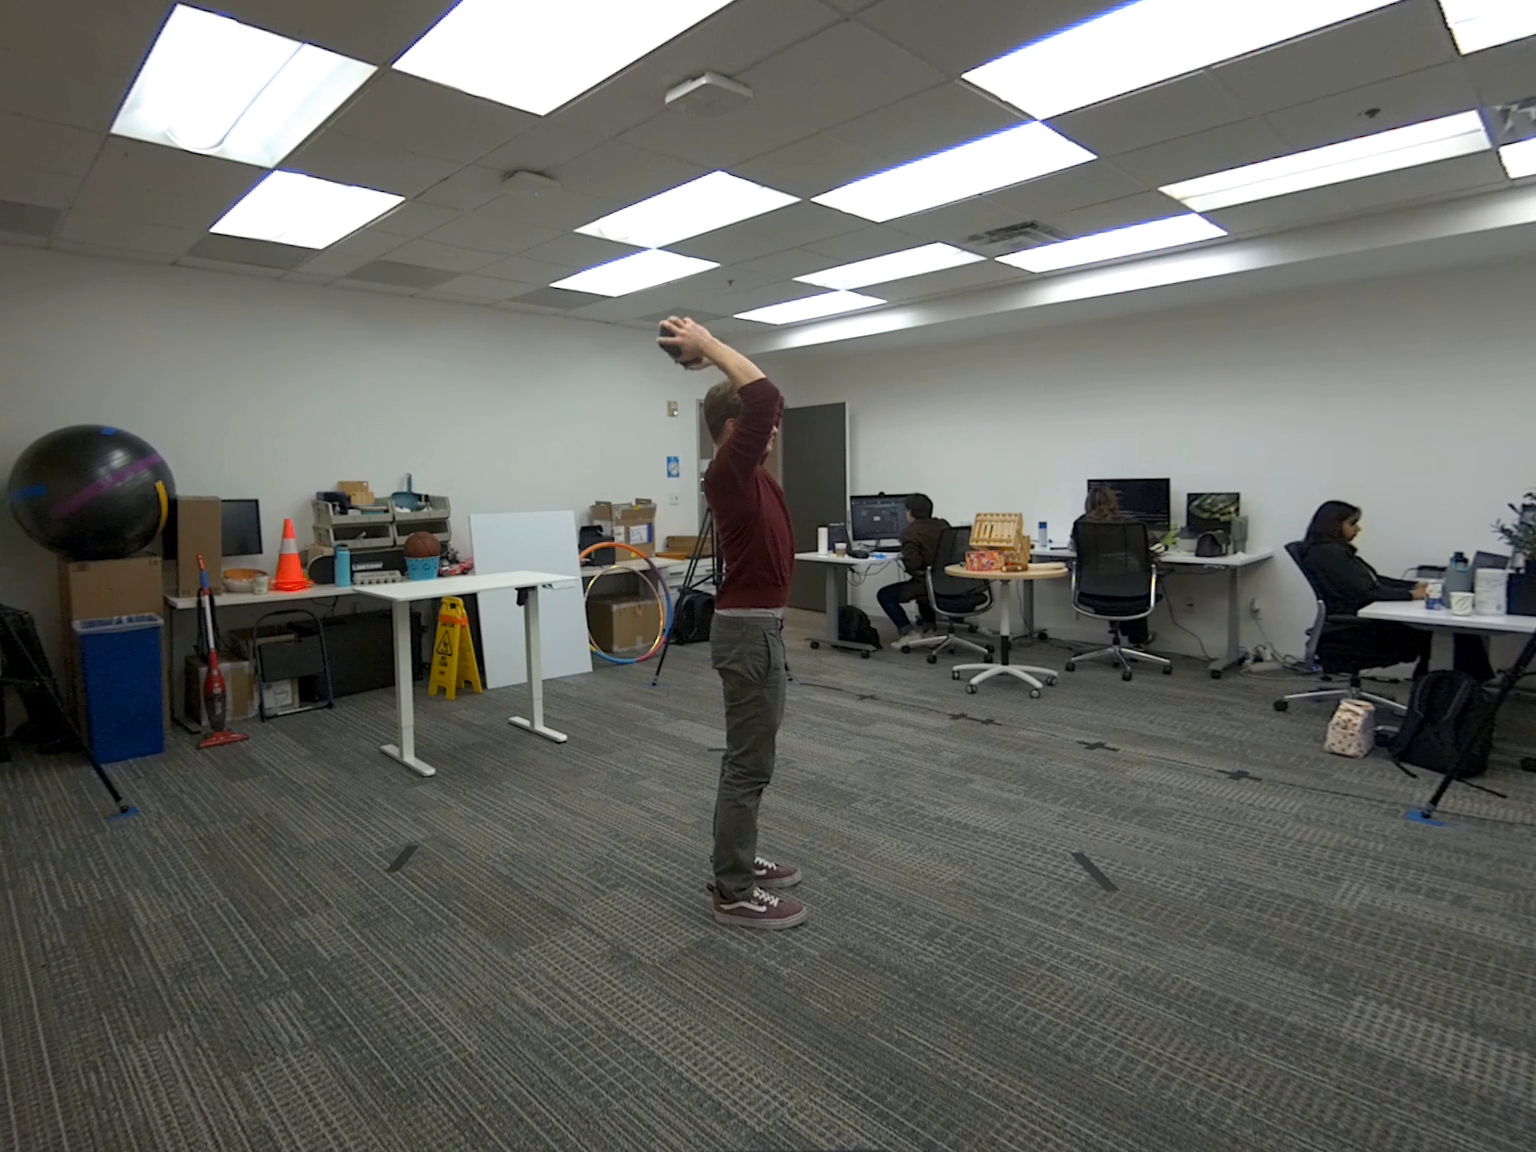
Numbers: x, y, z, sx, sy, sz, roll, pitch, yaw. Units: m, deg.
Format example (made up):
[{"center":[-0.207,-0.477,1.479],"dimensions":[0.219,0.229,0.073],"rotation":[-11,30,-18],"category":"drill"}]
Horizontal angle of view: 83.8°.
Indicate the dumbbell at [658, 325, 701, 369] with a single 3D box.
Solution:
[{"center":[-0.251,-0.747,2.747],"dimensions":[0.123,0.108,0.293],"rotation":[-23,4,9],"category":"dumbbell"}]
